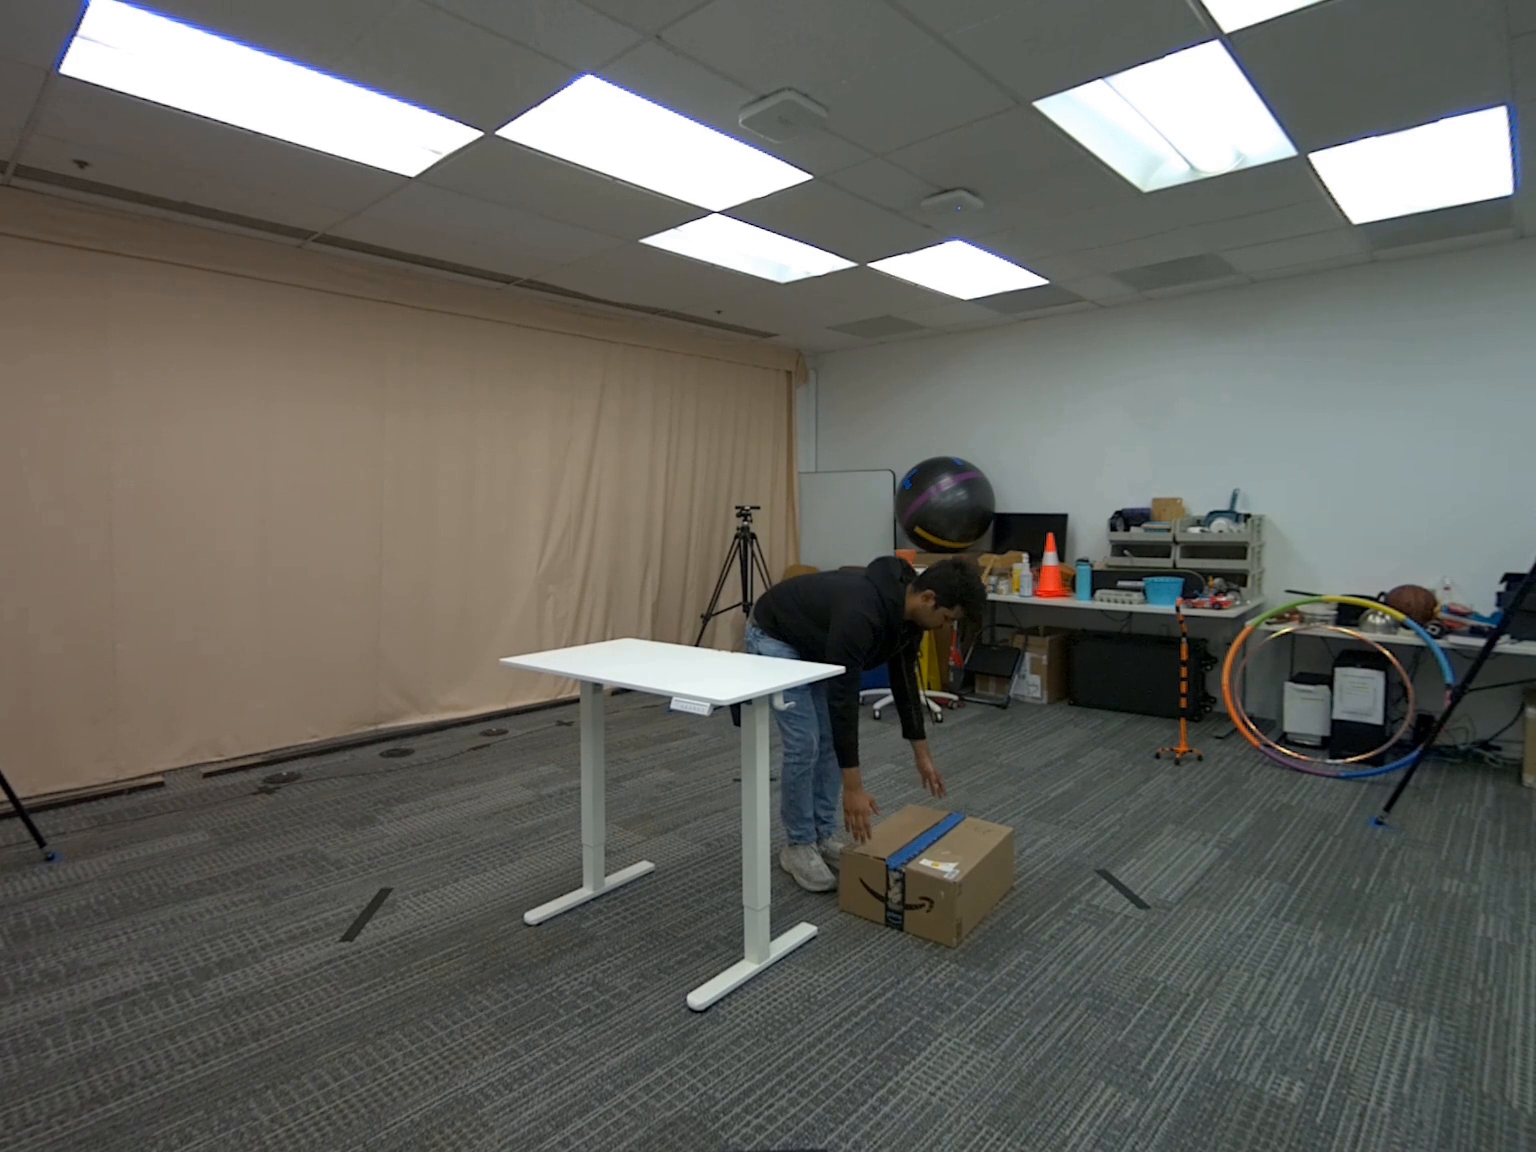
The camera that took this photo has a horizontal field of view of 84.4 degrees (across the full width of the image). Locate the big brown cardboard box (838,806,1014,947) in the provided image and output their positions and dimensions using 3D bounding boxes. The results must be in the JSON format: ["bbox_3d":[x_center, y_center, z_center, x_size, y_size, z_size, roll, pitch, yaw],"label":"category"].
[{"bbox_3d":[0.574,1.033,2.976,0.431,0.233,0.572,3,5,35],"label":"big brown cardboard box"}]
